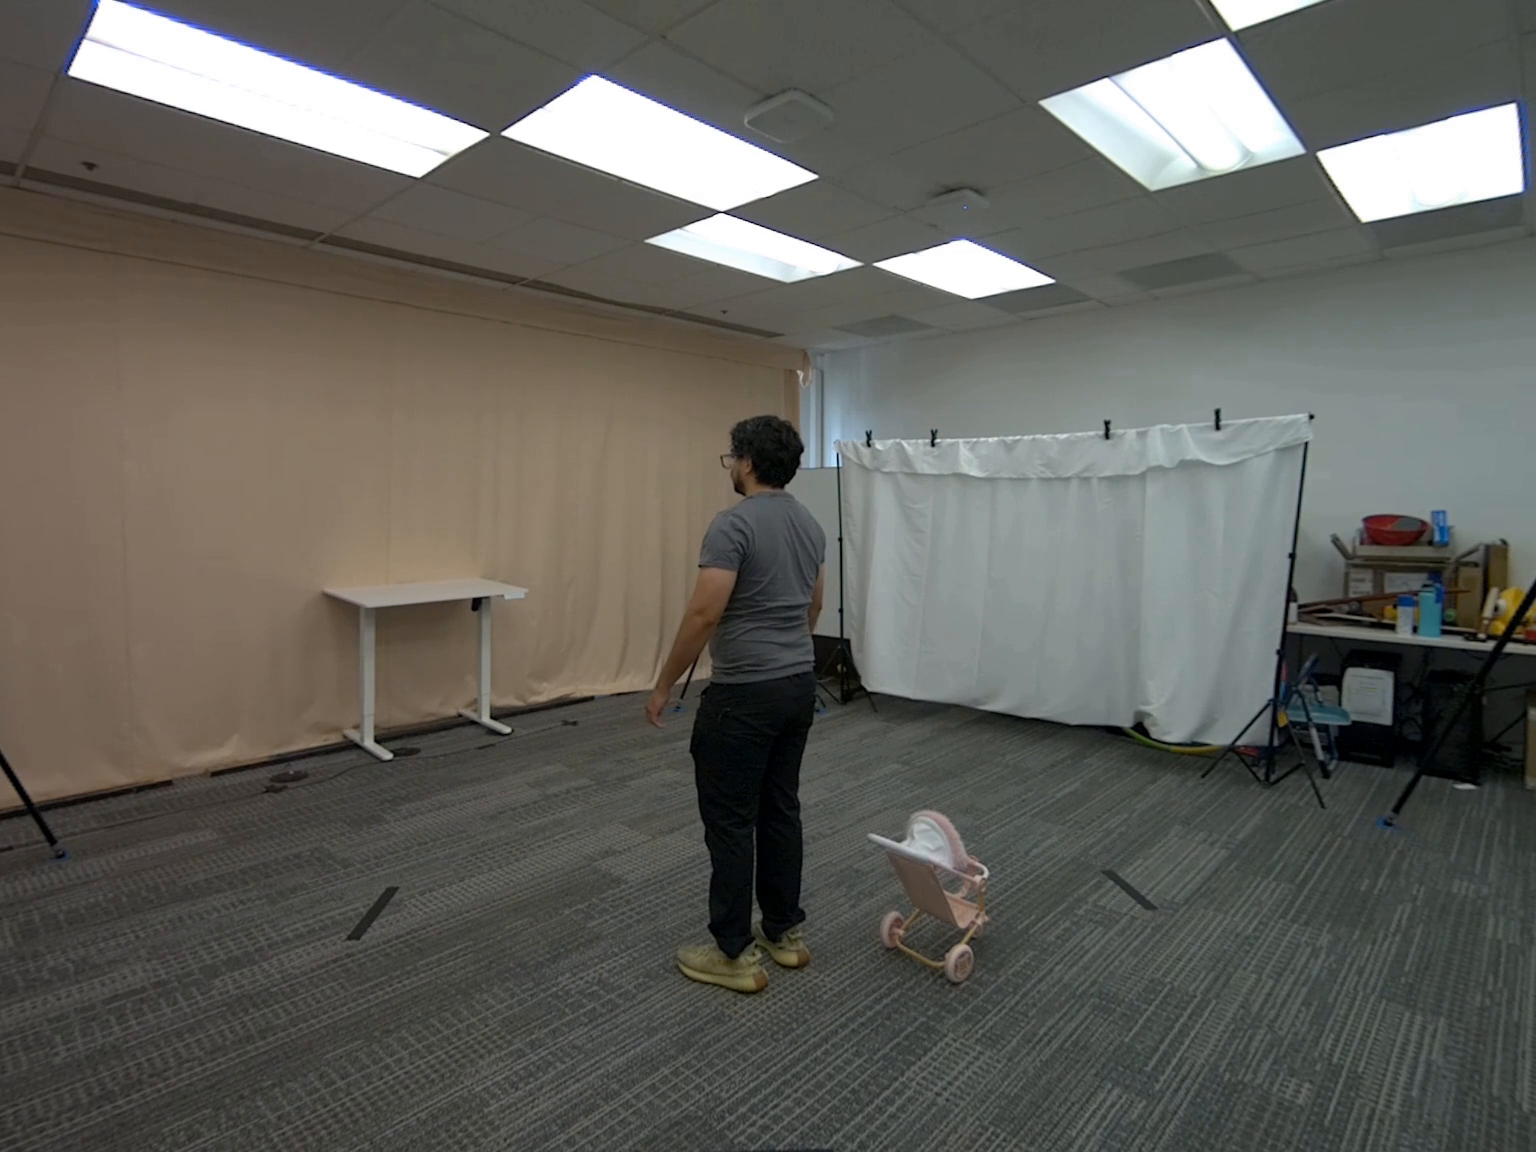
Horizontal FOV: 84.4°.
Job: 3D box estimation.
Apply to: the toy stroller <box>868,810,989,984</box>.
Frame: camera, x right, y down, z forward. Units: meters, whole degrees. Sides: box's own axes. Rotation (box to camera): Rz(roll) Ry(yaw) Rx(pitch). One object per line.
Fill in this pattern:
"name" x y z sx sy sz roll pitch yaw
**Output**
"toy stroller" 0.529 0.956 2.574 0.334 0.529 0.290 -23 16 -33
